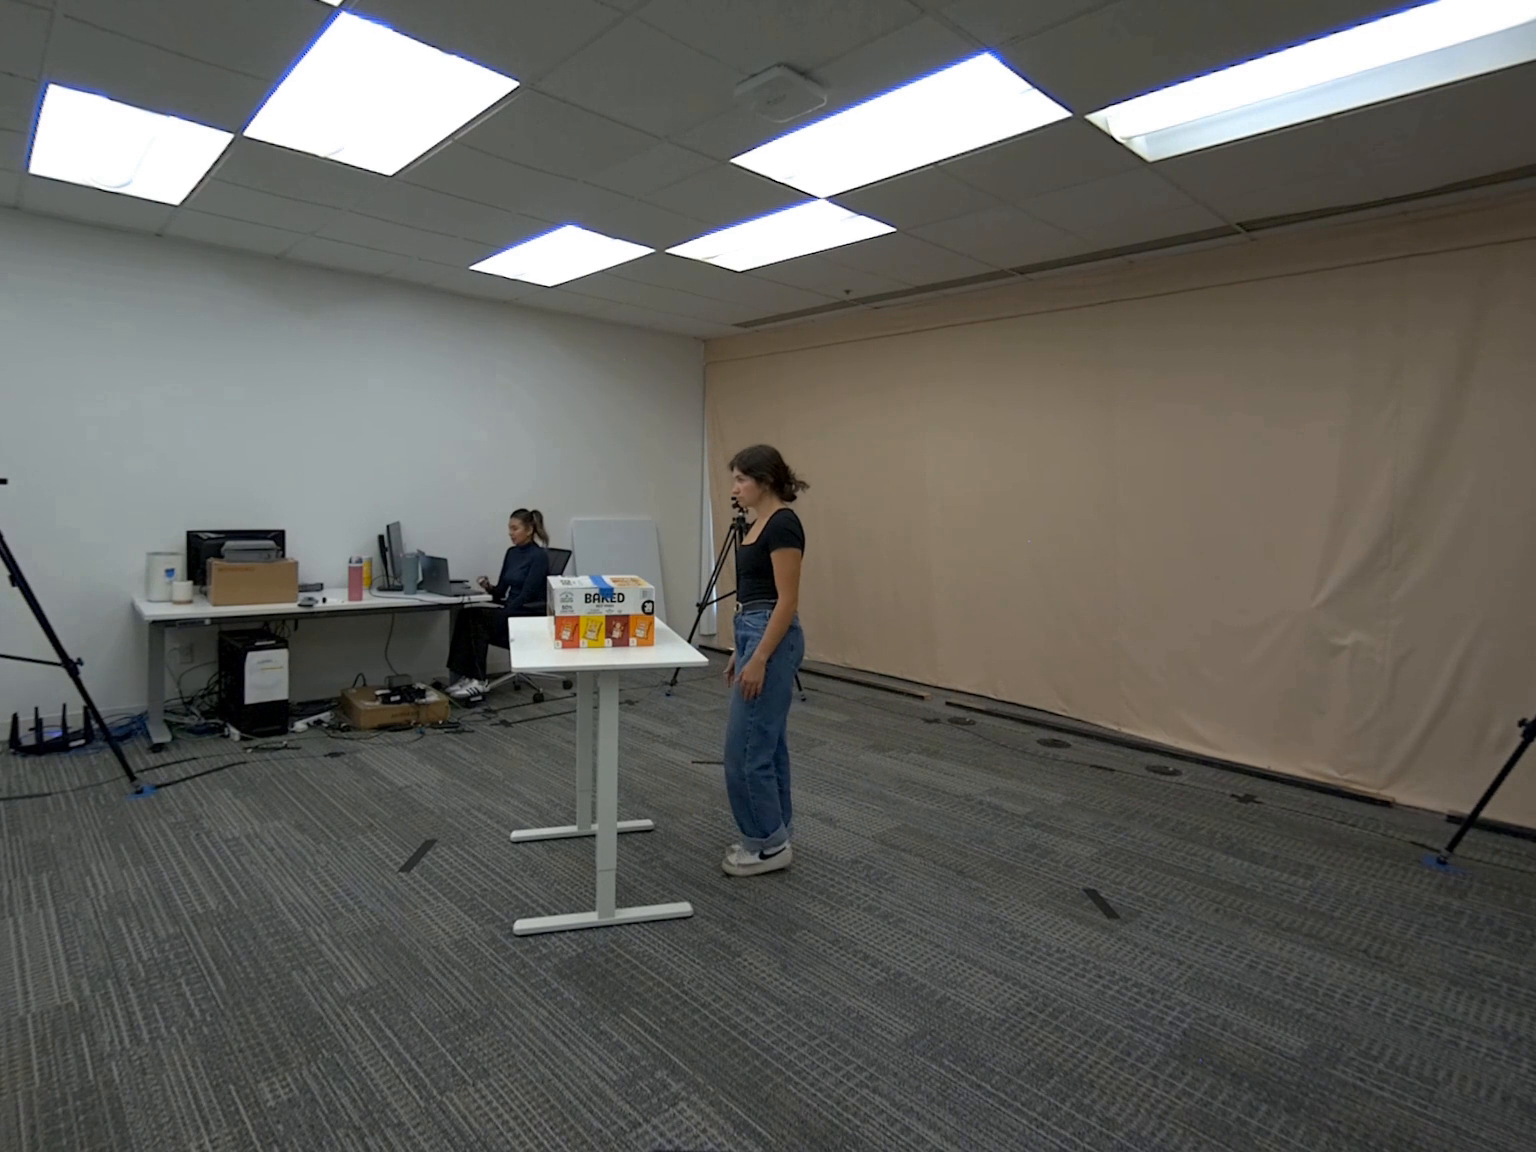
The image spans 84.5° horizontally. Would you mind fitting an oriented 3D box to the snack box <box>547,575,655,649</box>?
[{"bbox_3d":[-0.612,0.120,3.023,0.336,0.205,0.412,0,5,-17],"label":"snack box"}]
